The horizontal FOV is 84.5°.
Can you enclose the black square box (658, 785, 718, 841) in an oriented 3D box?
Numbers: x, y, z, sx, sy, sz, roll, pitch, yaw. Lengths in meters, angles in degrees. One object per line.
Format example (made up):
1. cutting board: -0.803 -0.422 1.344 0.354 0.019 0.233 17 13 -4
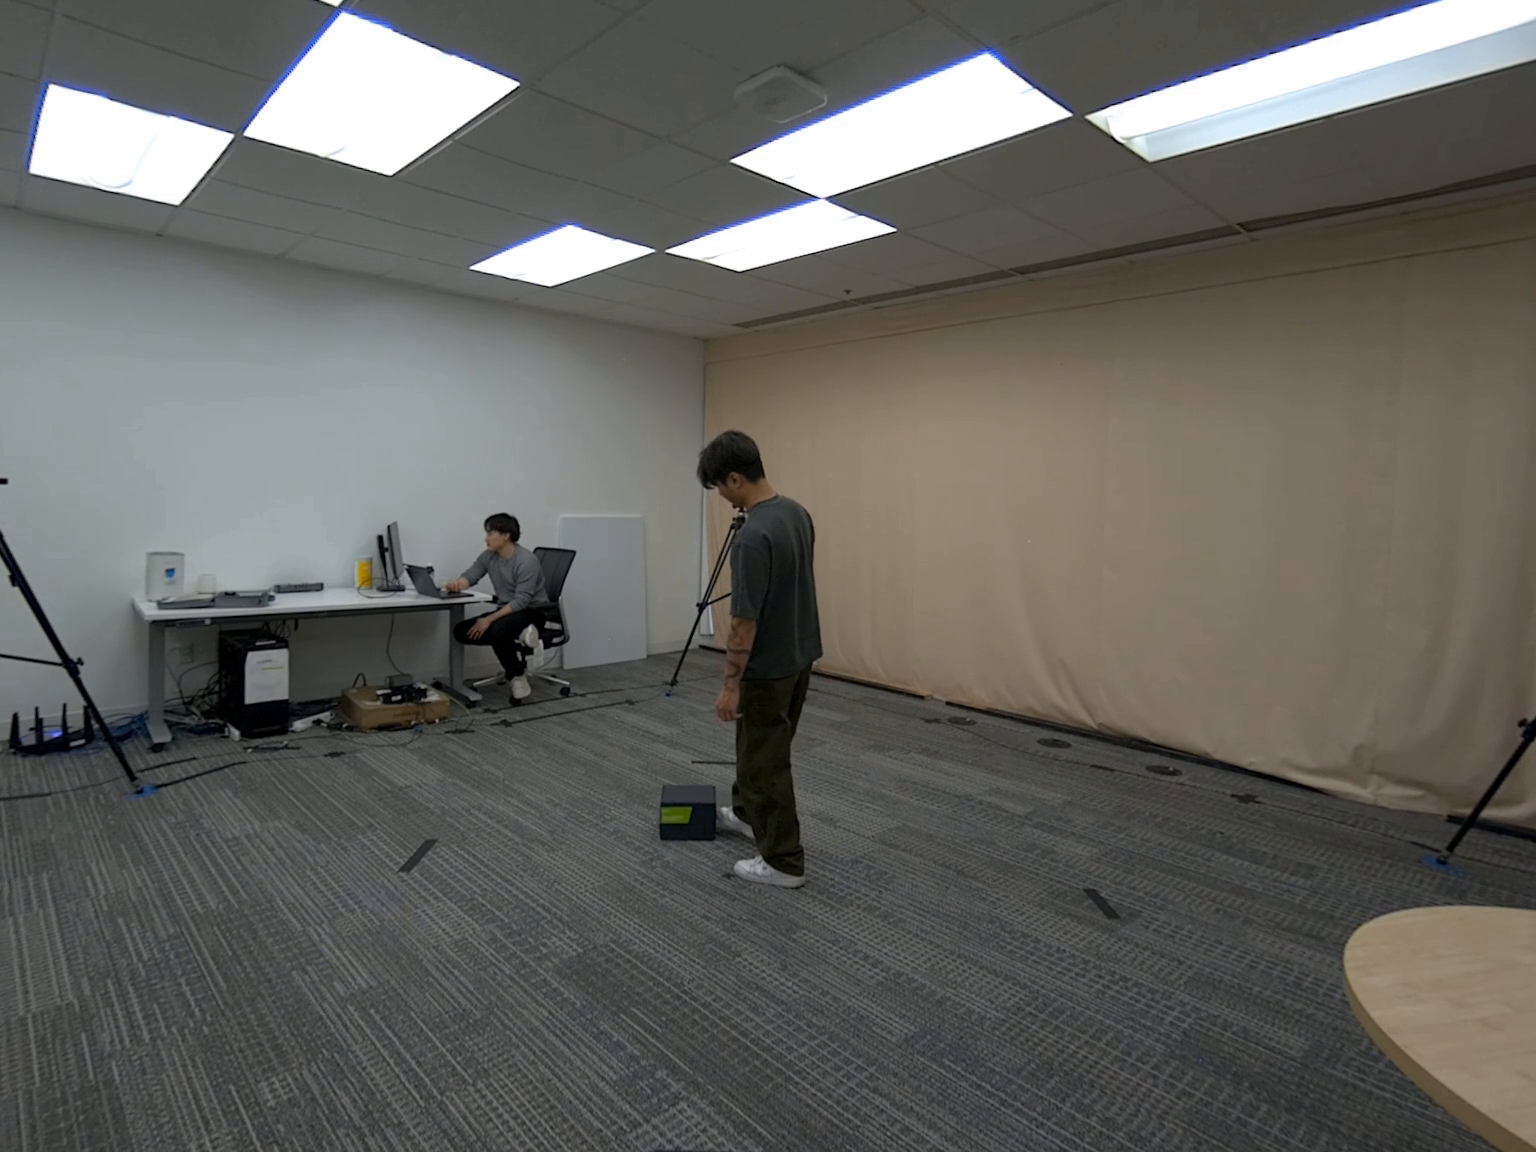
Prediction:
1. black square box: -0.341 0.978 3.516 0.227 0.155 0.218 1 5 -3
